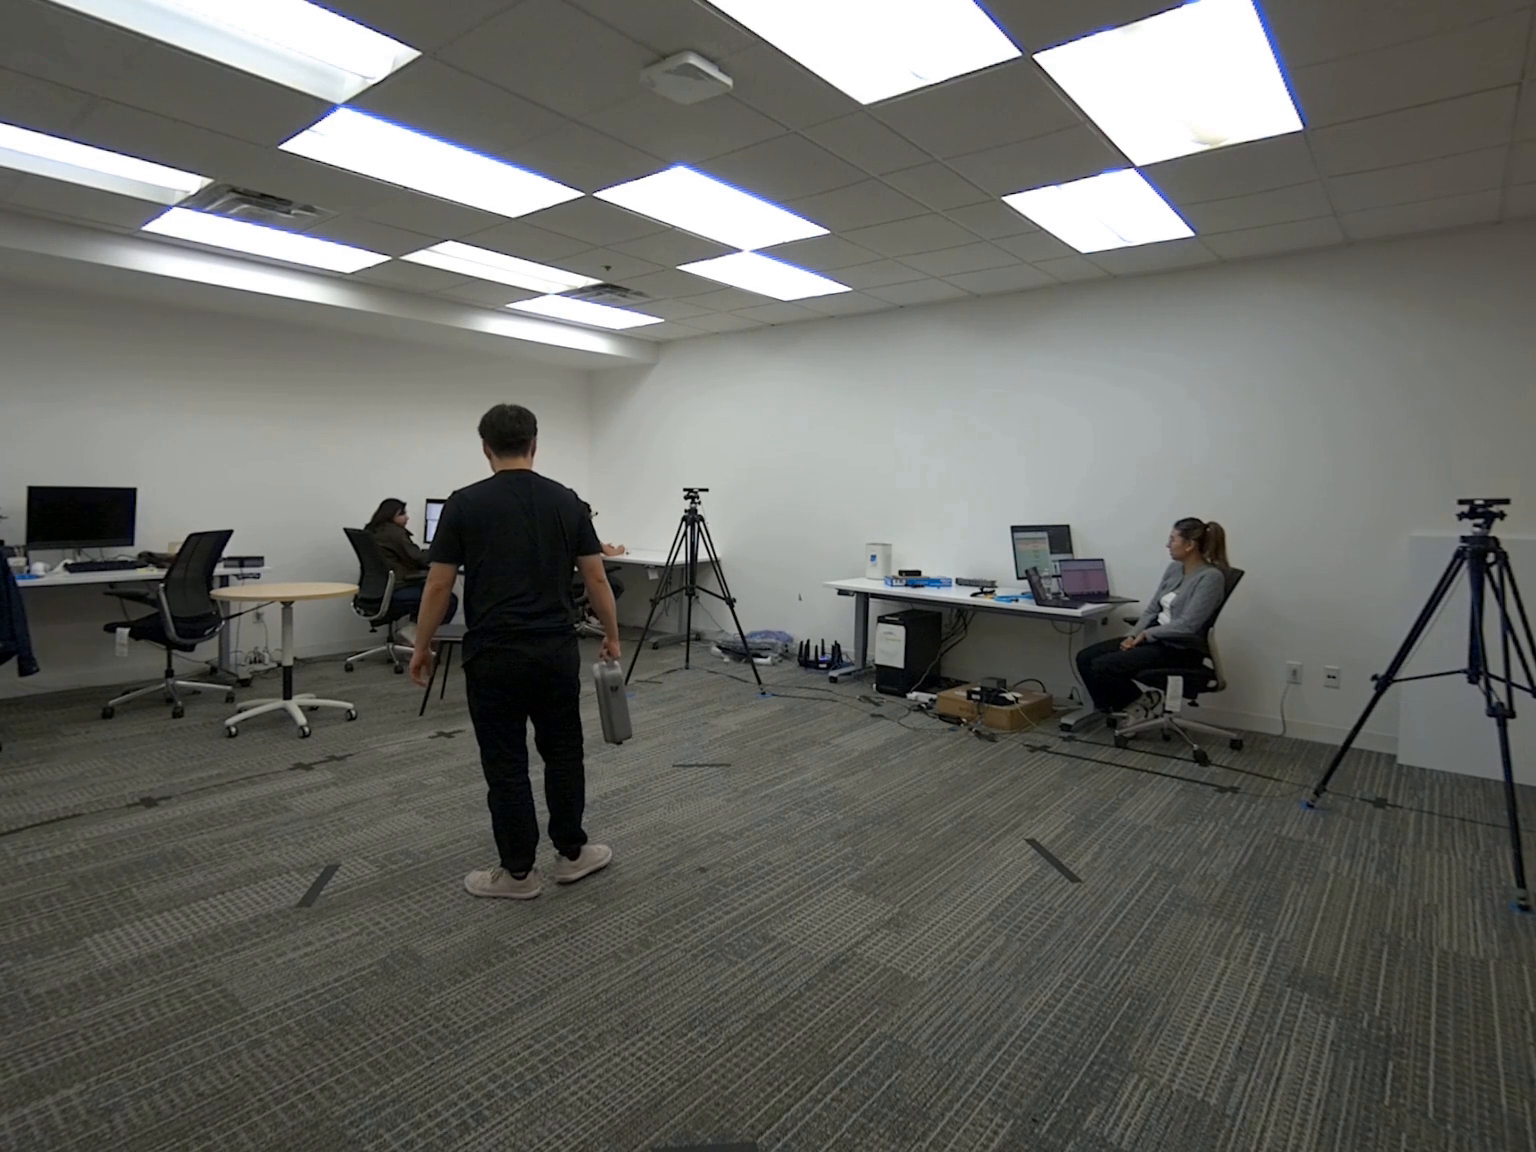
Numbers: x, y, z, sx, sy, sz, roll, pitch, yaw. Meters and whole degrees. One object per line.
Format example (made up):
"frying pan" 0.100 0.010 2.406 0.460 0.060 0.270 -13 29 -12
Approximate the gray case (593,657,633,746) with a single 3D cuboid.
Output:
"gray case" -0.579 0.447 3.077 0.103 0.259 0.261 -6 5 -11
